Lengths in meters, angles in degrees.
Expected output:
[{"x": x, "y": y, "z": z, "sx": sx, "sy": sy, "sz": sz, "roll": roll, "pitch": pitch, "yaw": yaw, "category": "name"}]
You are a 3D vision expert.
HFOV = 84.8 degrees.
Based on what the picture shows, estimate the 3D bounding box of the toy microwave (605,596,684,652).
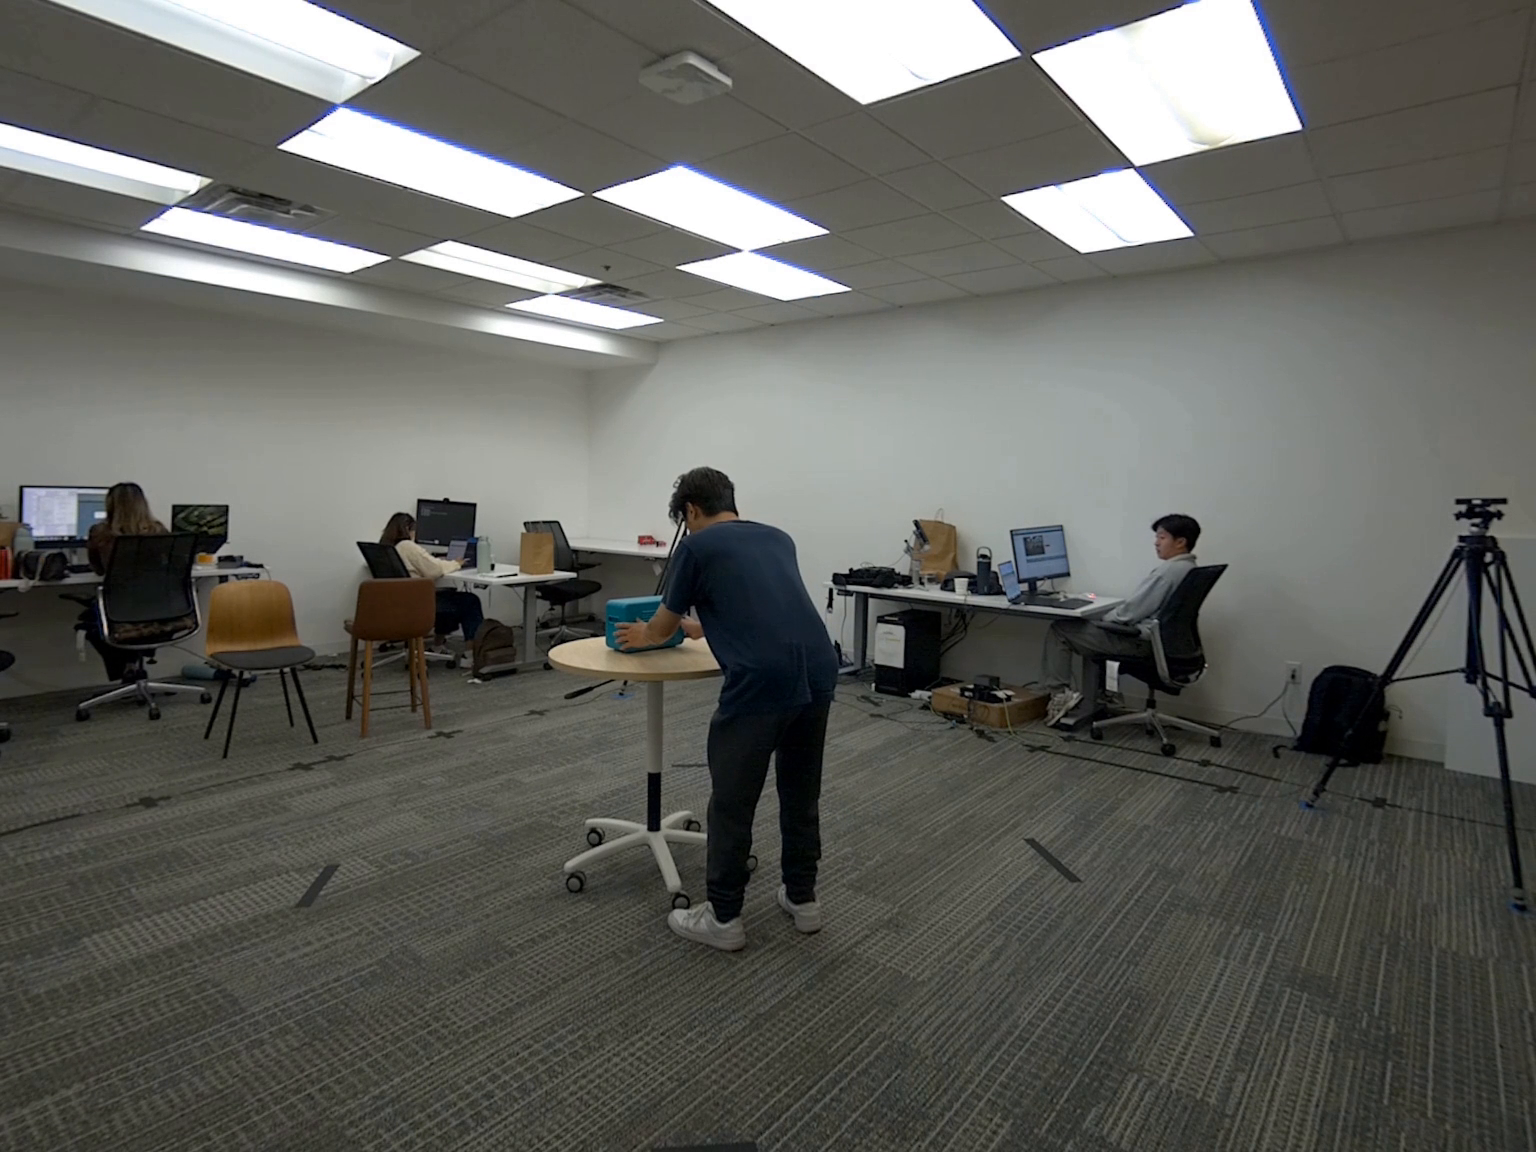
[{"x": -0.470, "y": 0.172, "z": 3.149, "sx": 0.277, "sy": 0.184, "sz": 0.157, "roll": -4, "pitch": 5, "yaw": -43, "category": "toy microwave"}]
